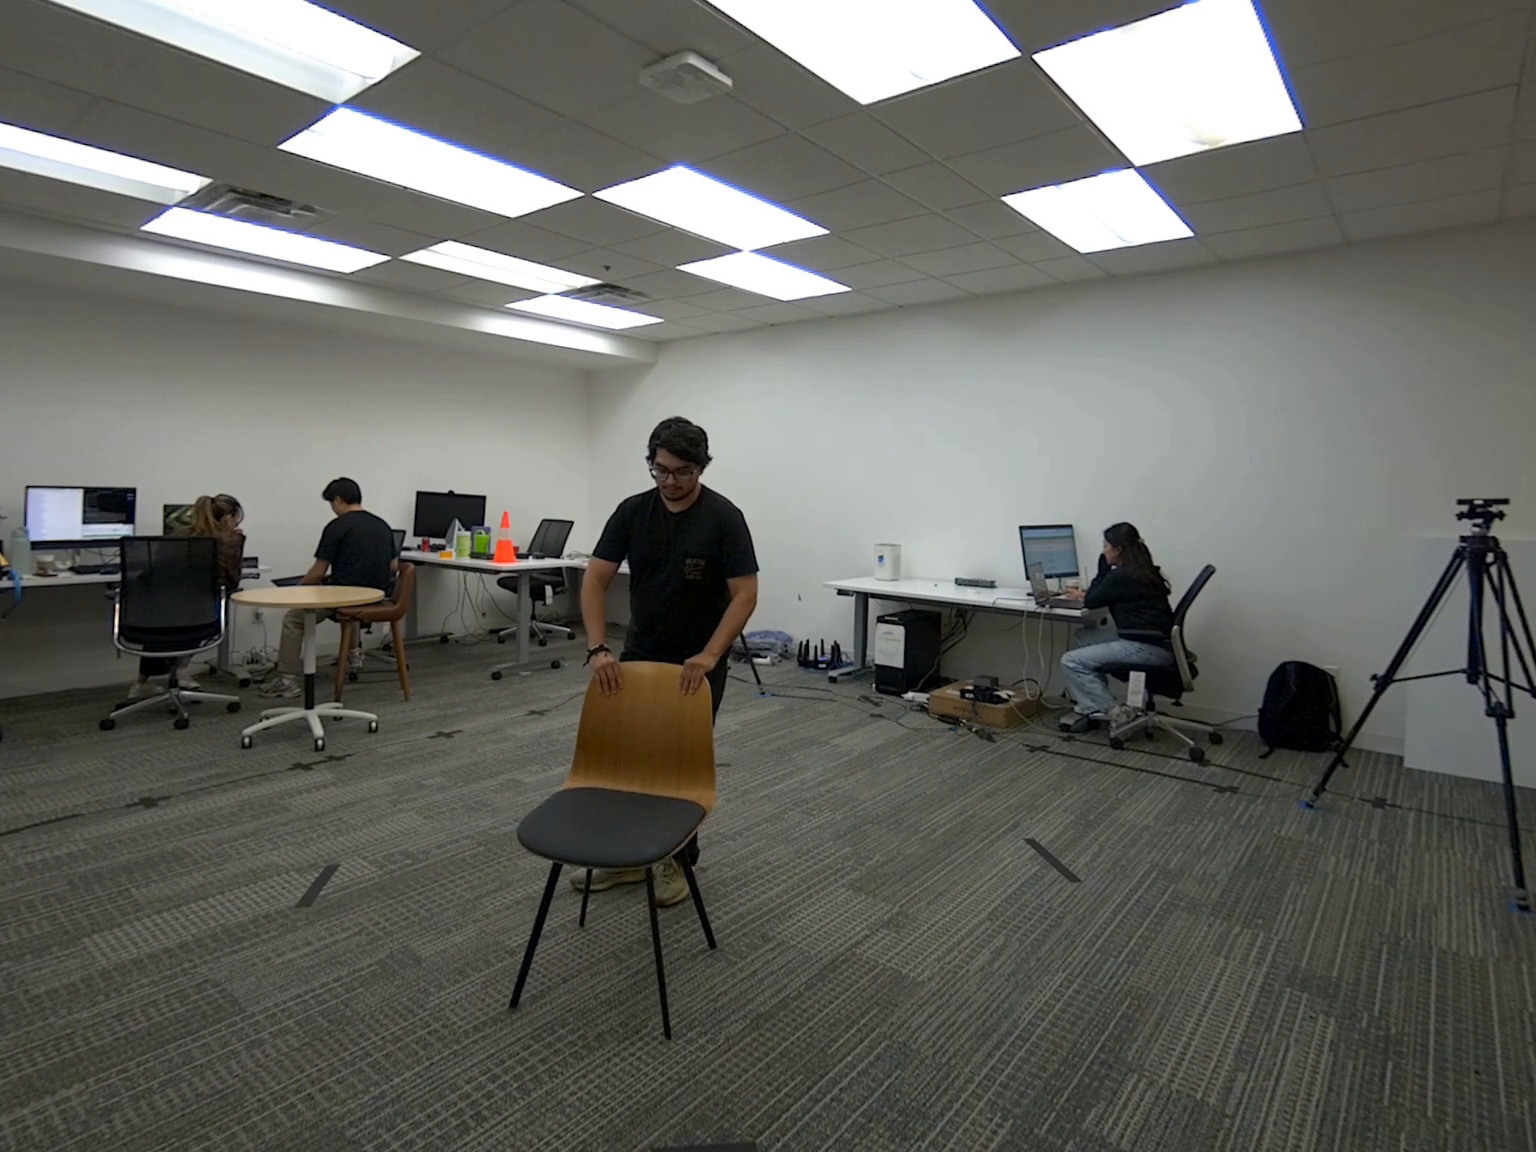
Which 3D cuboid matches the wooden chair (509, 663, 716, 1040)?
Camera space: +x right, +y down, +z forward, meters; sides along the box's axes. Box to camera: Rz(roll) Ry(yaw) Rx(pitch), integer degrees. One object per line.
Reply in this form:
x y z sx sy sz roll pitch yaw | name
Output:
-0.413 0.704 2.382 0.486 0.878 0.515 3 0 13 | wooden chair
